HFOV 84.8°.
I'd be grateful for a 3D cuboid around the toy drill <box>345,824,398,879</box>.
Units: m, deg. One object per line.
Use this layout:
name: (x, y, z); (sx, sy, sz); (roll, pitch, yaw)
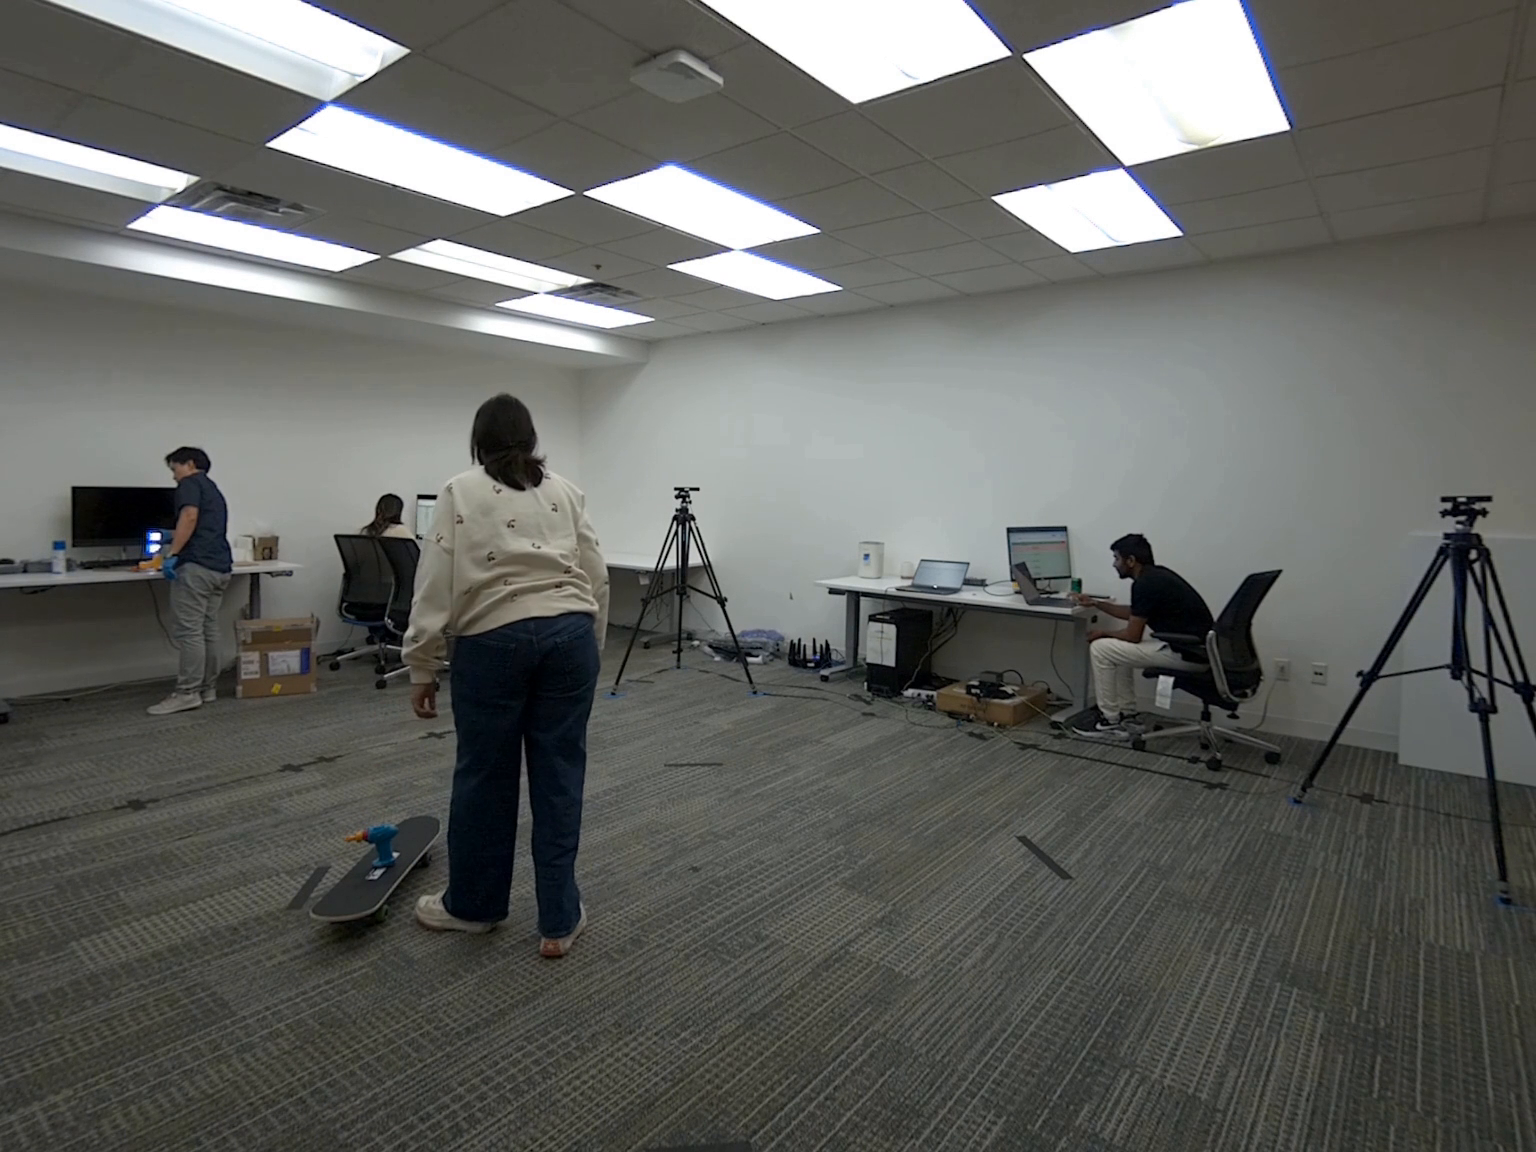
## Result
toy drill: (-1.370, 0.914, 2.890); (0.166, 0.146, 0.062); (-2, 1, -20)
